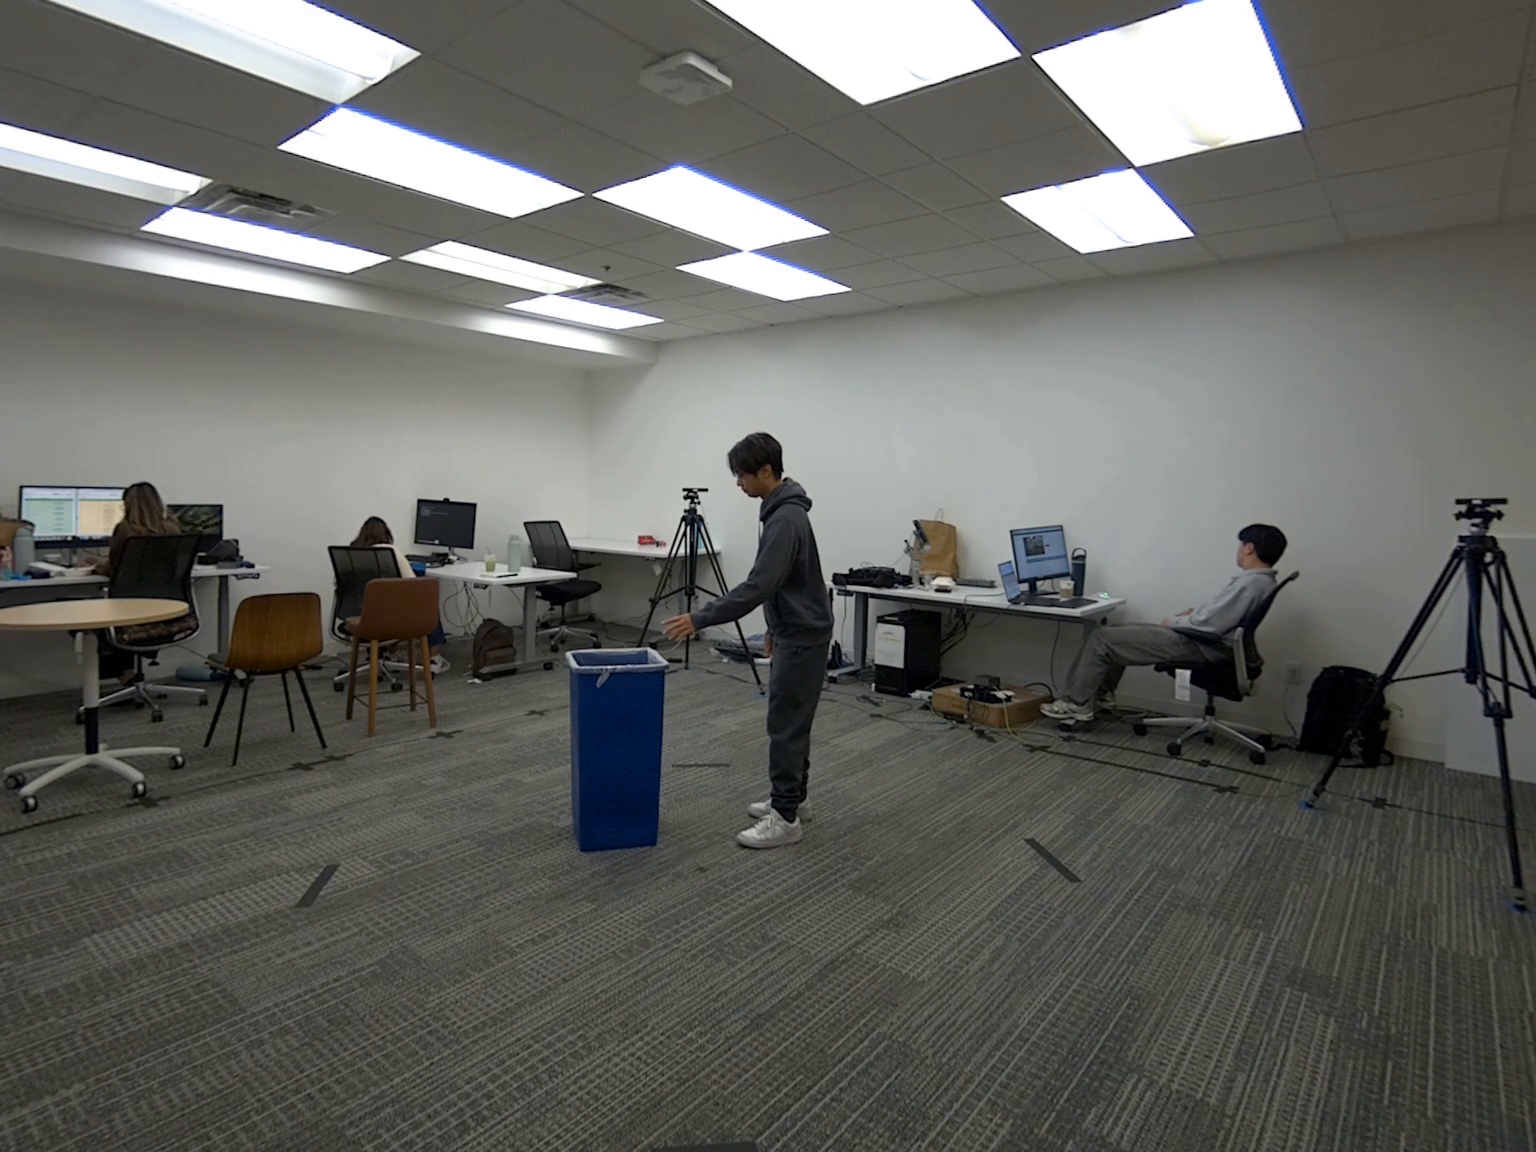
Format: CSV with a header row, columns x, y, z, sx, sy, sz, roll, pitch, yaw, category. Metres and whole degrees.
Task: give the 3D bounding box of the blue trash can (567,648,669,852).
x,y,z,sx,sy,sz,roll,pitch,yaw,category
-0.631,0.676,3.406,0.372,0.712,0.381,1,3,-17,blue trash can
